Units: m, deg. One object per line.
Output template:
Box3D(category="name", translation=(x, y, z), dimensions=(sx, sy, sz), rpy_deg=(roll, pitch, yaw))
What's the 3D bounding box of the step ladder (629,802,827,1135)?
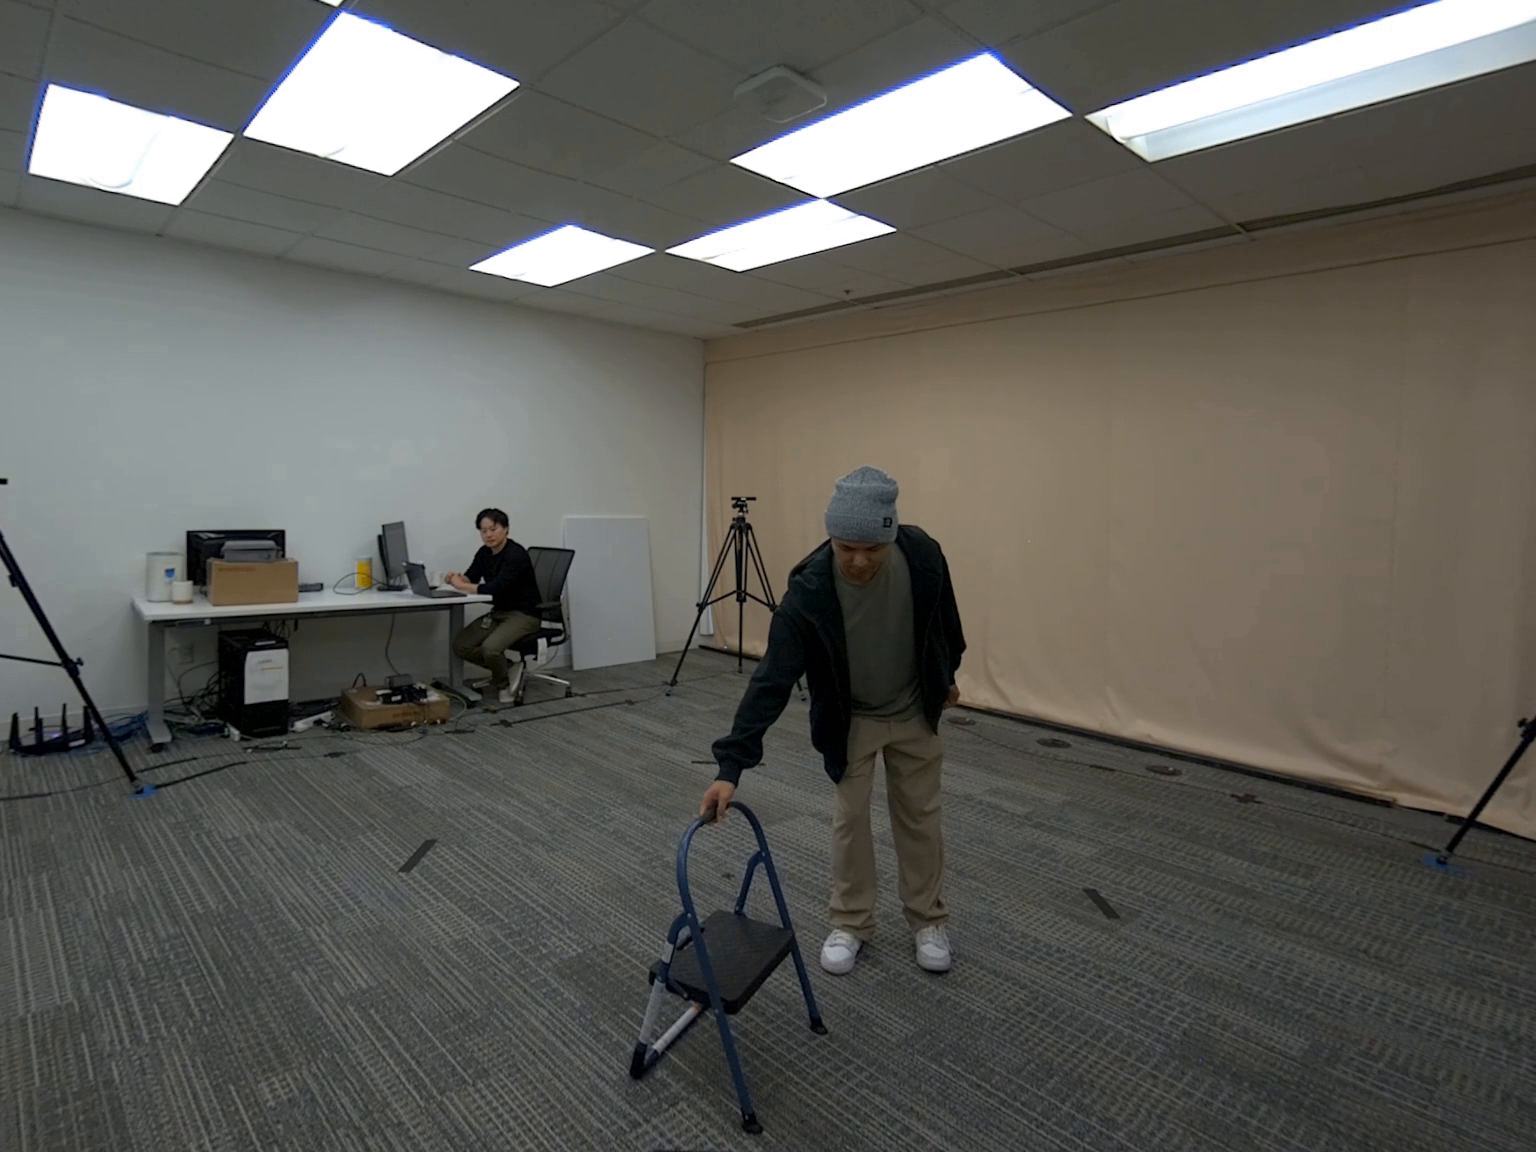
Box3D(category="step ladder", translation=(-0.092, 0.903, 2.087), dimensions=(0.356, 0.604, 0.423), rpy_deg=(4, 4, 25))
